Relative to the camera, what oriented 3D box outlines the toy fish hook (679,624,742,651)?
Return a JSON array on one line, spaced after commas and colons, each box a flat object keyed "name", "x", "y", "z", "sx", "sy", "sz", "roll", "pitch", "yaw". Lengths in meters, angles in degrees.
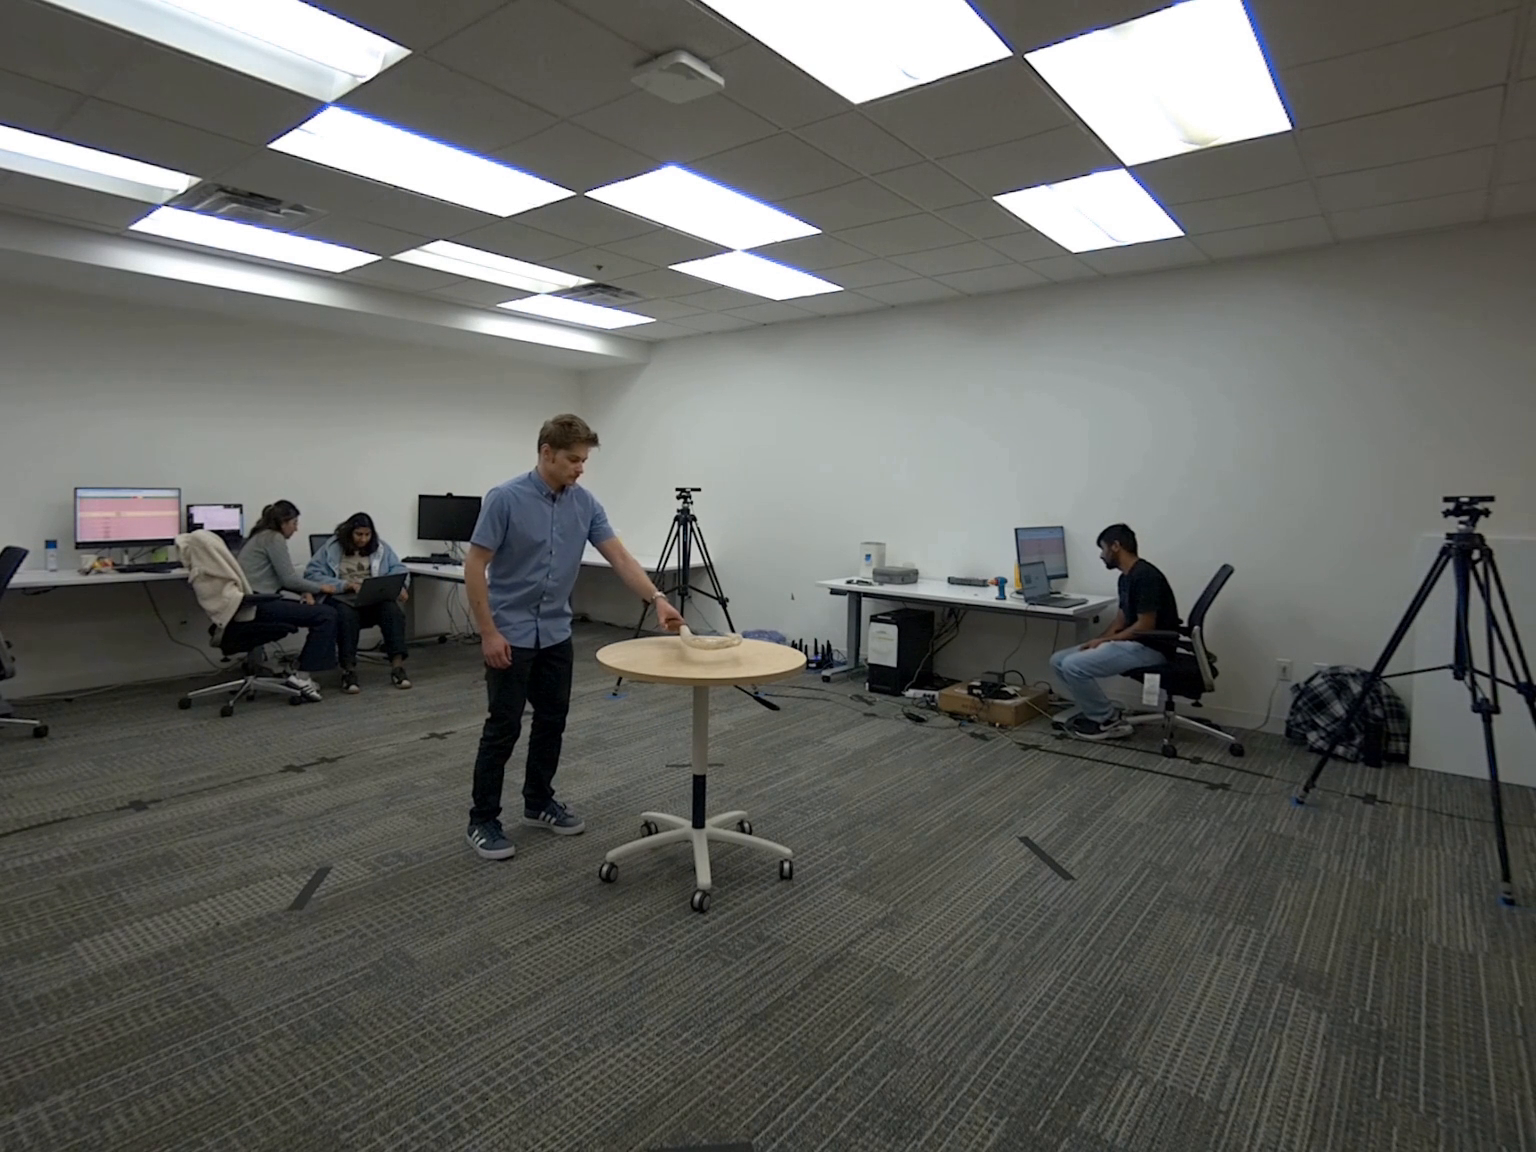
[{"name": "toy fish hook", "x": -0.270, "y": 0.206, "z": 3.178, "sx": 0.219, "sy": 0.048, "sz": 0.521, "roll": 2, "pitch": 6, "yaw": -25}]
